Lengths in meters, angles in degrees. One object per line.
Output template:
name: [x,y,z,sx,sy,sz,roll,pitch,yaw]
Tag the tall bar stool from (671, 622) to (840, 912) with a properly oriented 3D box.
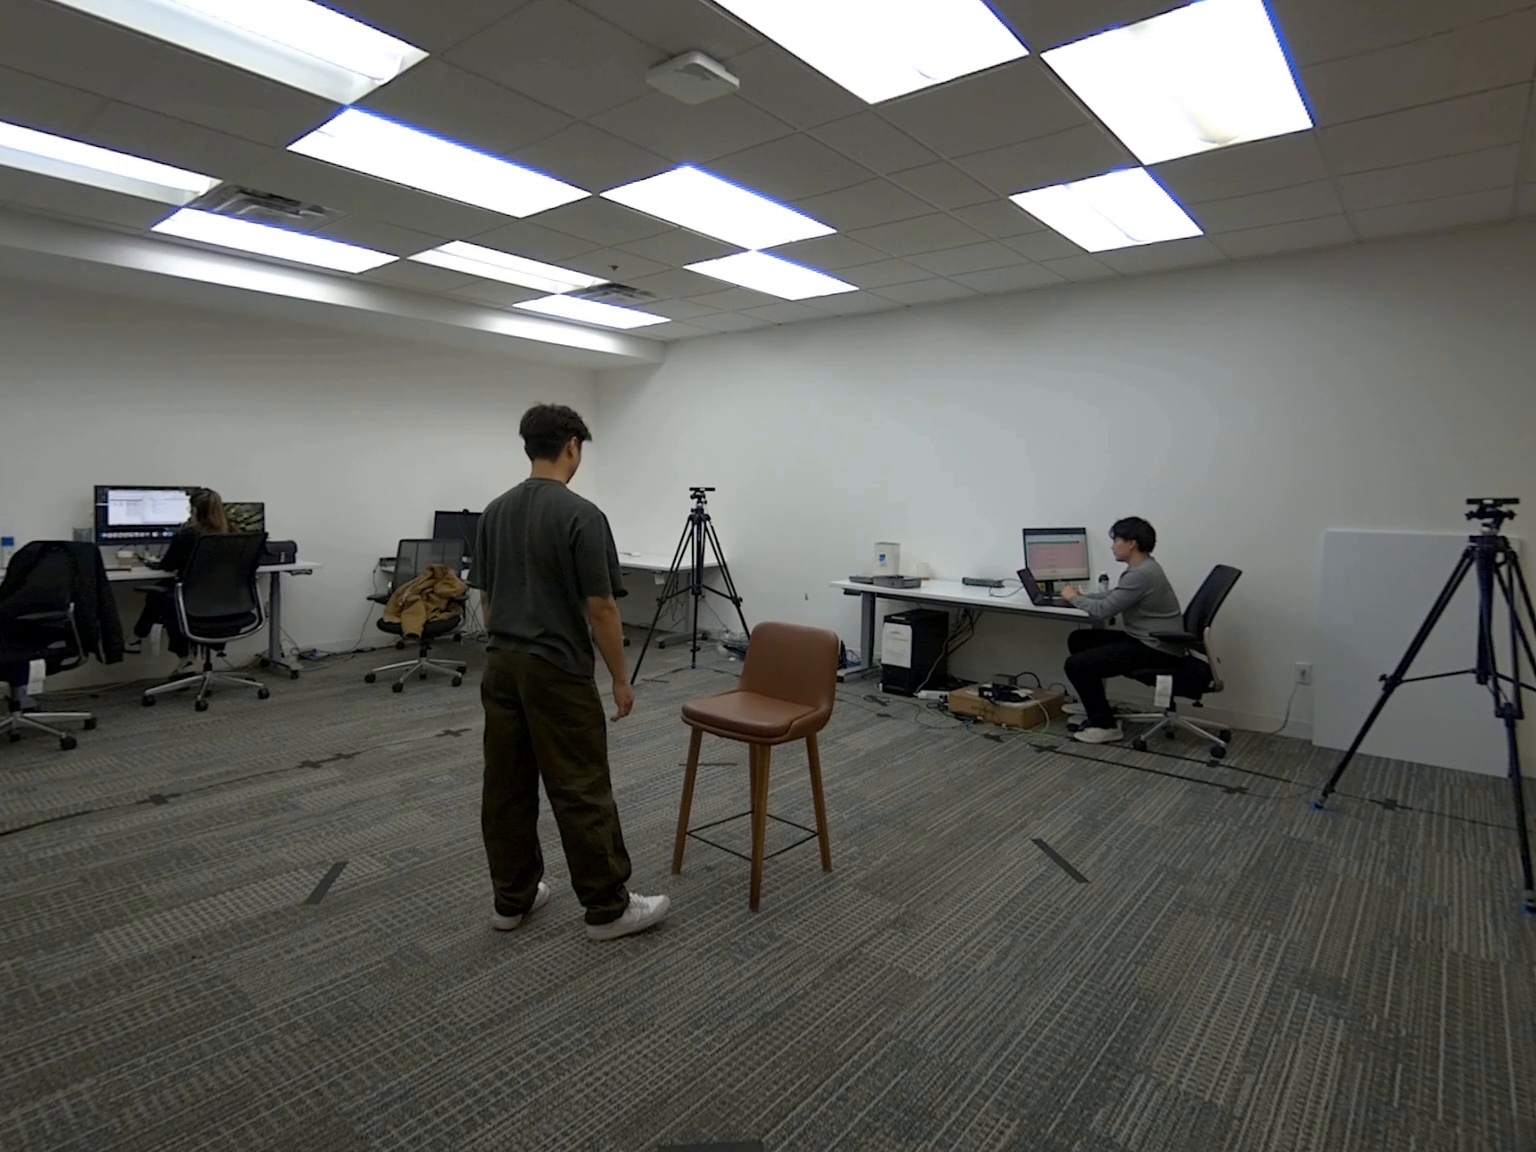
tall bar stool: [-0.046,0.636,3.078,0.472,0.889,0.452,4,2,42]
